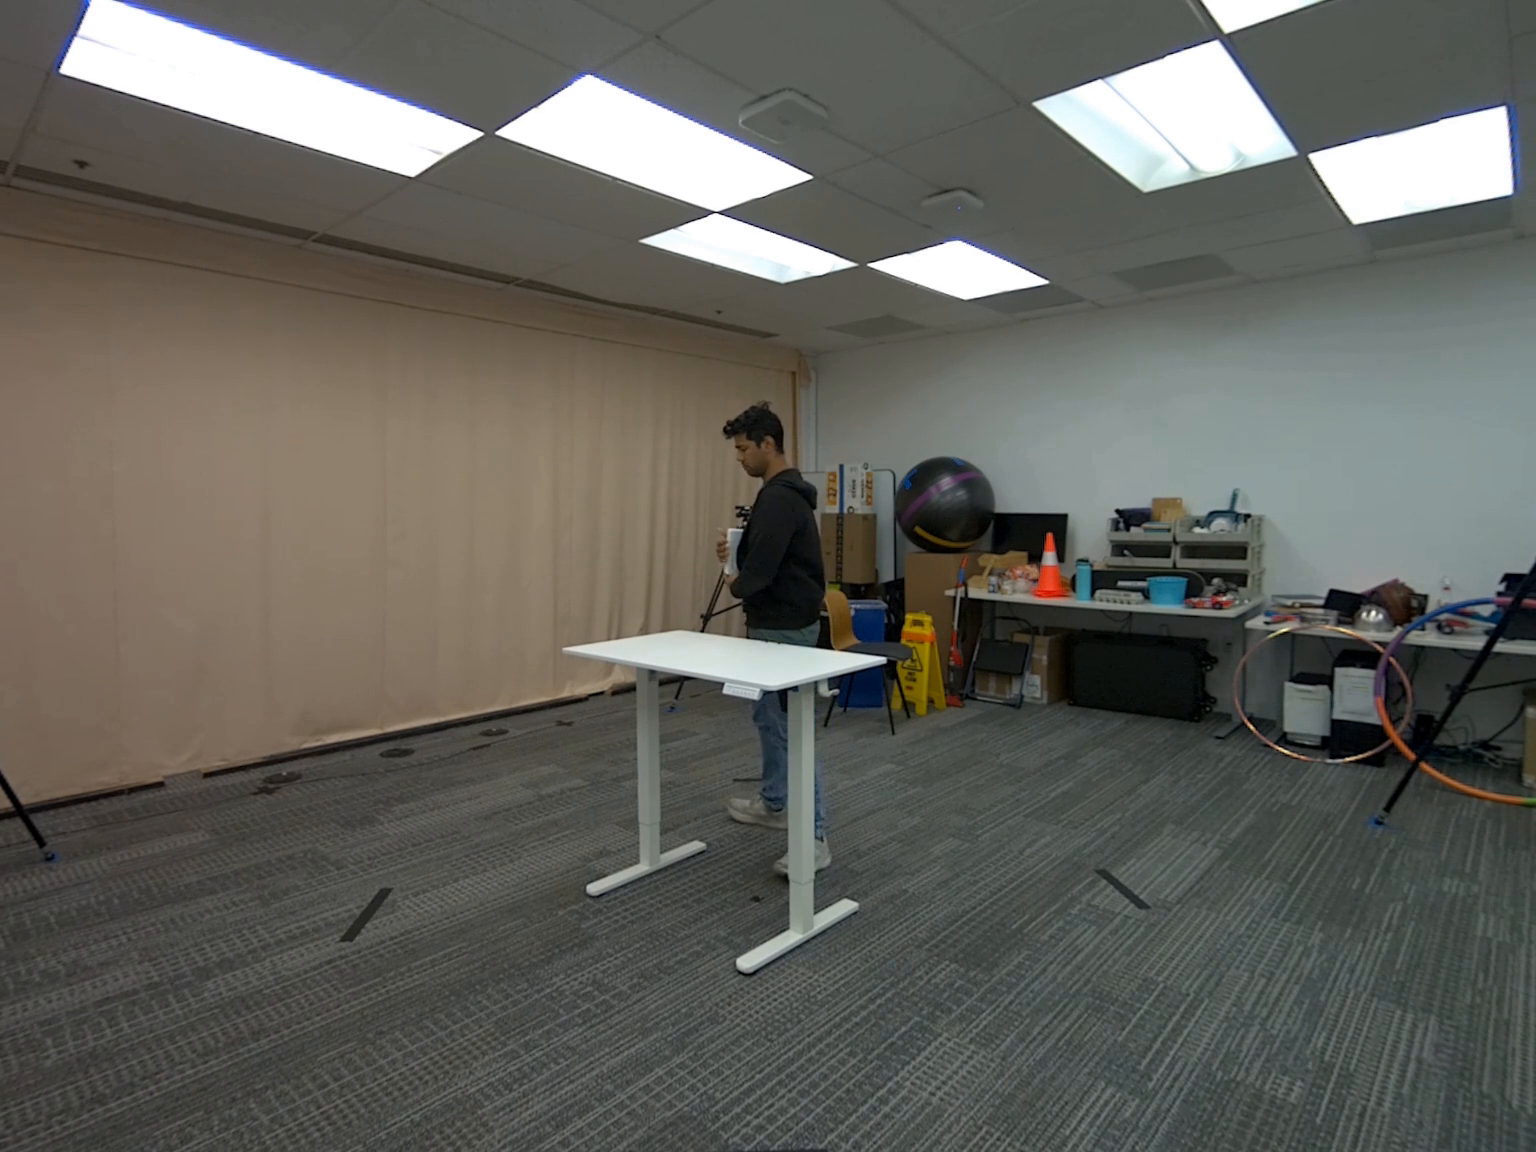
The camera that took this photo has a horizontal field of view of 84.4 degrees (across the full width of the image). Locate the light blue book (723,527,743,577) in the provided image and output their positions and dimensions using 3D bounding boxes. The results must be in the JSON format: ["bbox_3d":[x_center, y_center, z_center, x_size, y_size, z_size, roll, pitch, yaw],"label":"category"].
[{"bbox_3d":[-0.046,-0.099,3.571,0.258,0.191,0.060,2,3,-12],"label":"light blue book"}]
